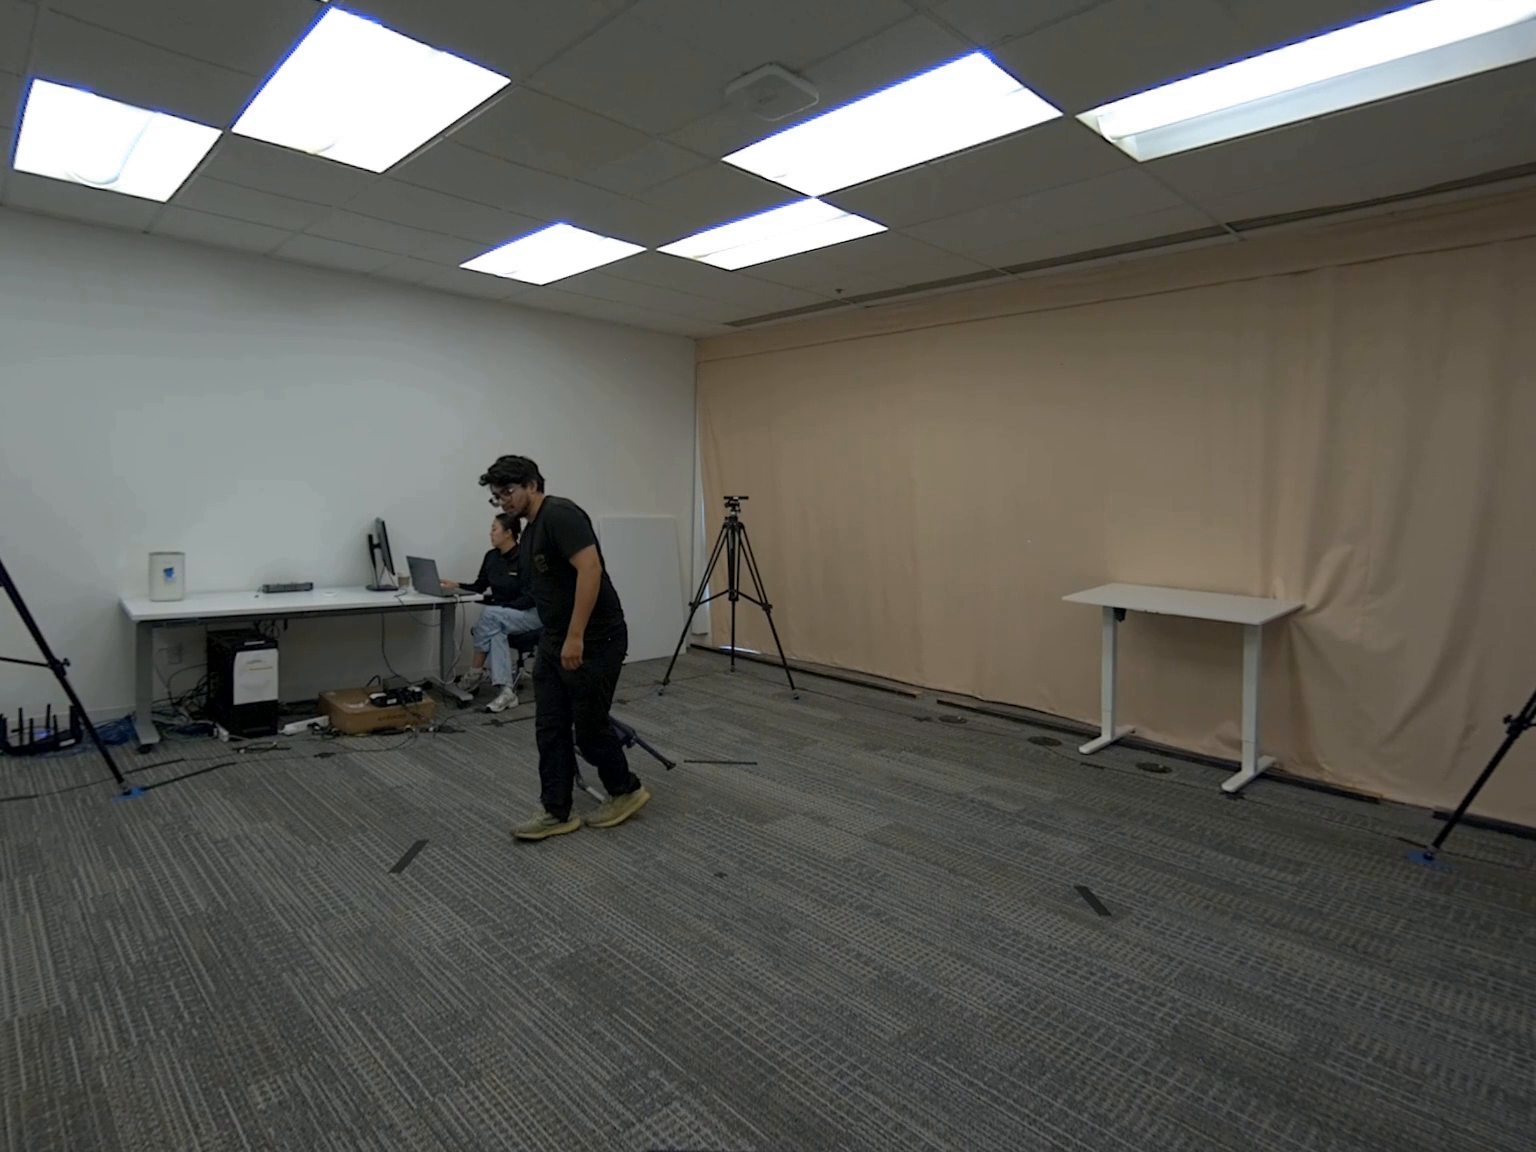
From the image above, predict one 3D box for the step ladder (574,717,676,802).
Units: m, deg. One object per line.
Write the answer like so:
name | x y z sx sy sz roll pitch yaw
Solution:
step ladder | -0.790 0.683 3.864 0.347 0.595 0.441 -35 22 -29
